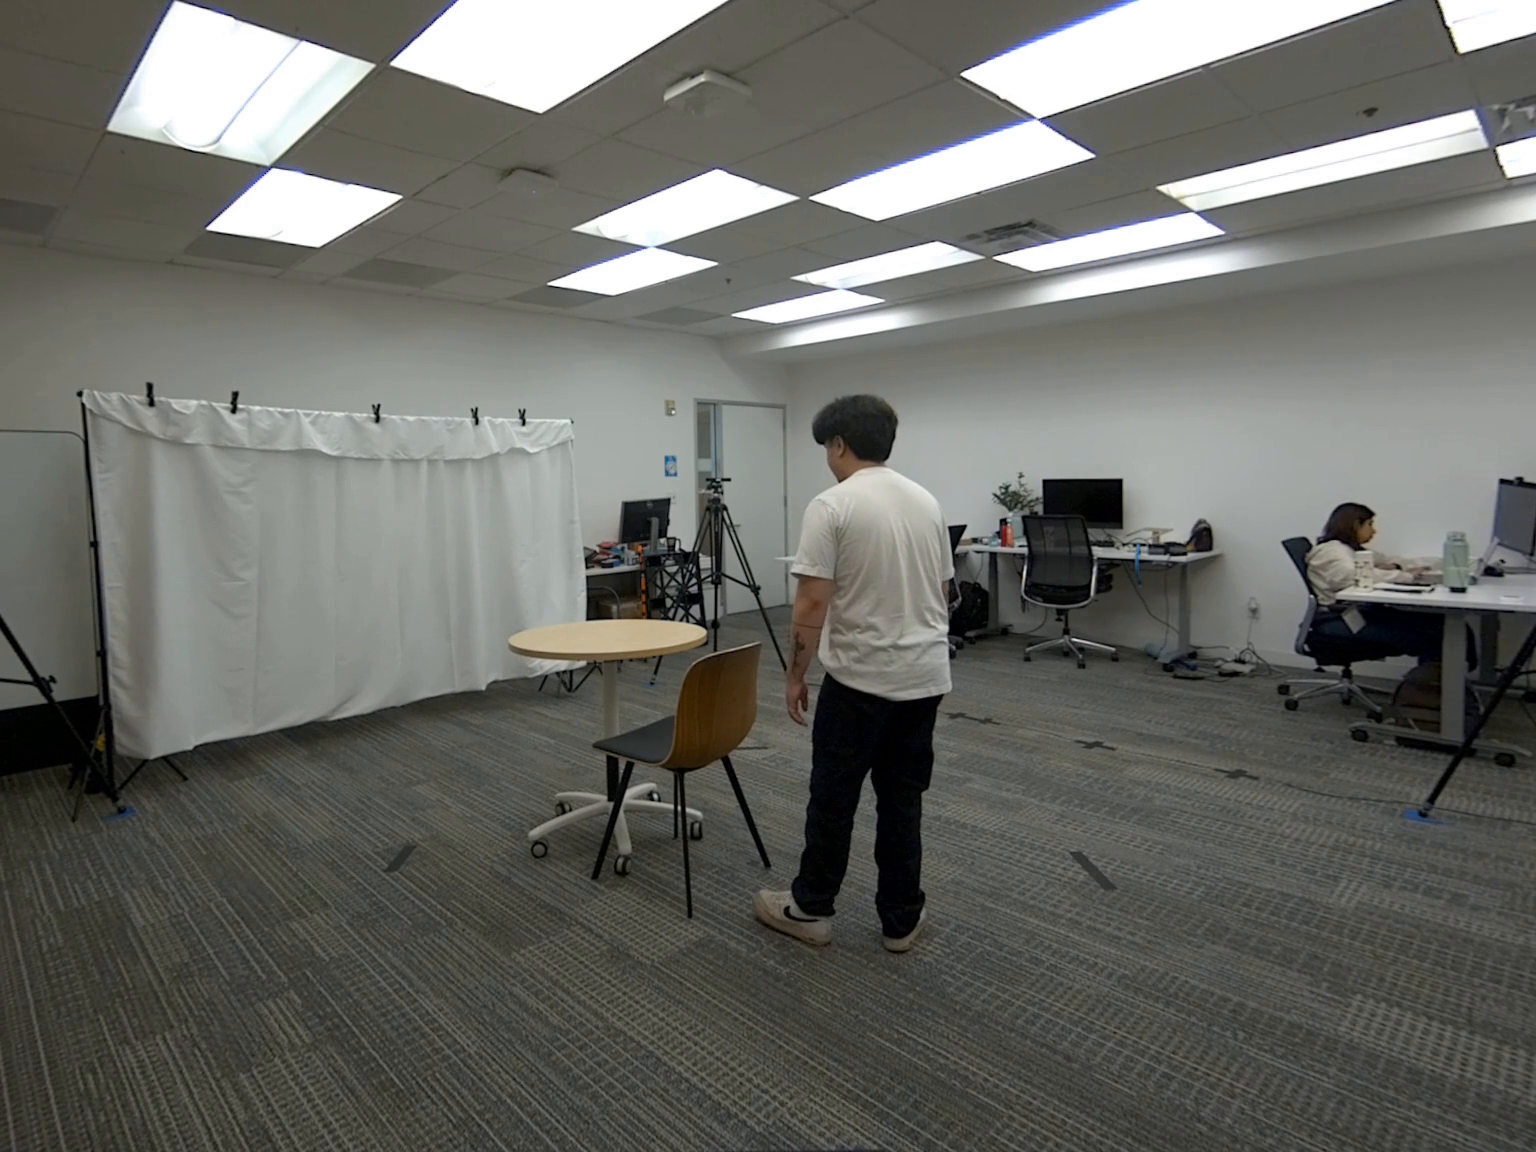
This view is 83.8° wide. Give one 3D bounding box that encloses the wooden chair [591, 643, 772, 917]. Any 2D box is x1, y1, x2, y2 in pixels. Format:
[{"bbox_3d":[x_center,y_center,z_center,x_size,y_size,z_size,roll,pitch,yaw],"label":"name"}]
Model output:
[{"bbox_3d":[-0.312,0.632,3.004,0.539,0.872,0.466,7,9,37],"label":"wooden chair"}]
